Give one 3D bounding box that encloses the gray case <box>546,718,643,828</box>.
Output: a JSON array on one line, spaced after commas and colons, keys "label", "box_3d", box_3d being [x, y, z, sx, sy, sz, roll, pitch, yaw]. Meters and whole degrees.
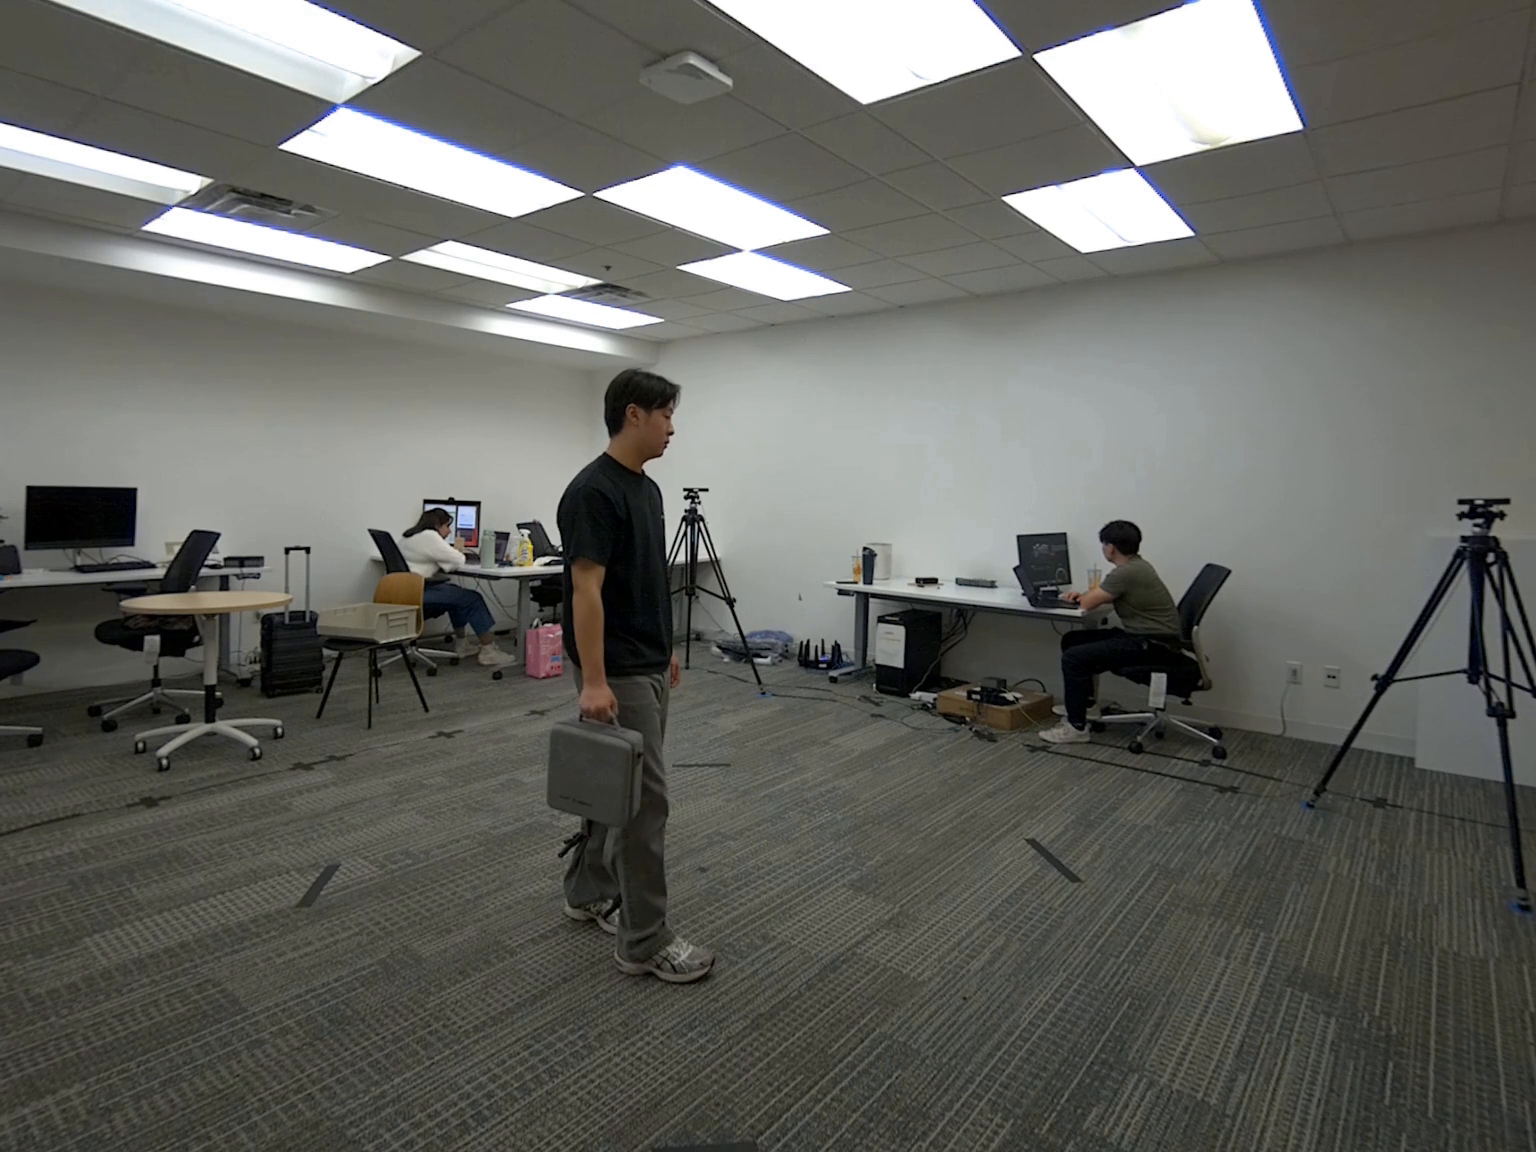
[{"label": "gray case", "box_3d": [-0.480, 0.507, 2.322, 0.270, 0.285, 0.101, 10, 11, 23]}]
